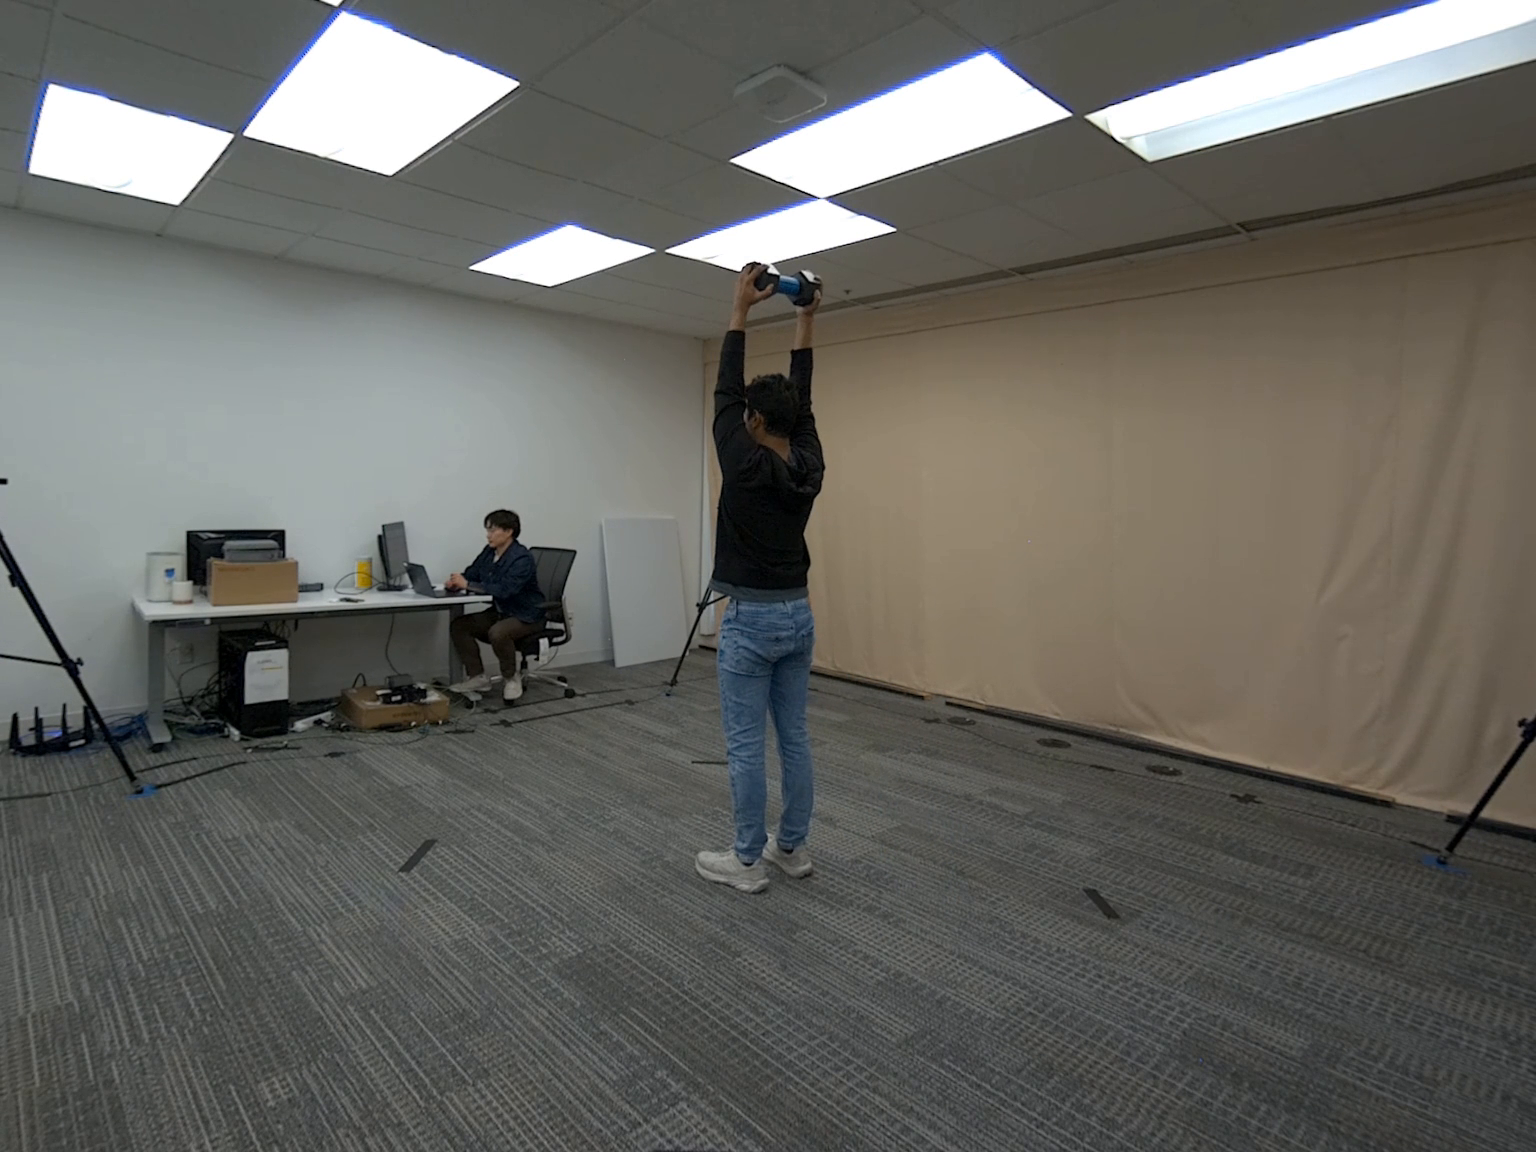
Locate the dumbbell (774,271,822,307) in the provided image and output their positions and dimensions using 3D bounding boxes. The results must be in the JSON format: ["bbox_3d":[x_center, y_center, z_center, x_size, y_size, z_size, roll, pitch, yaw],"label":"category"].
[{"bbox_3d":[0.041,-1.028,2.963,0.125,0.109,0.288,-11,-1,44],"label":"dumbbell"}]
